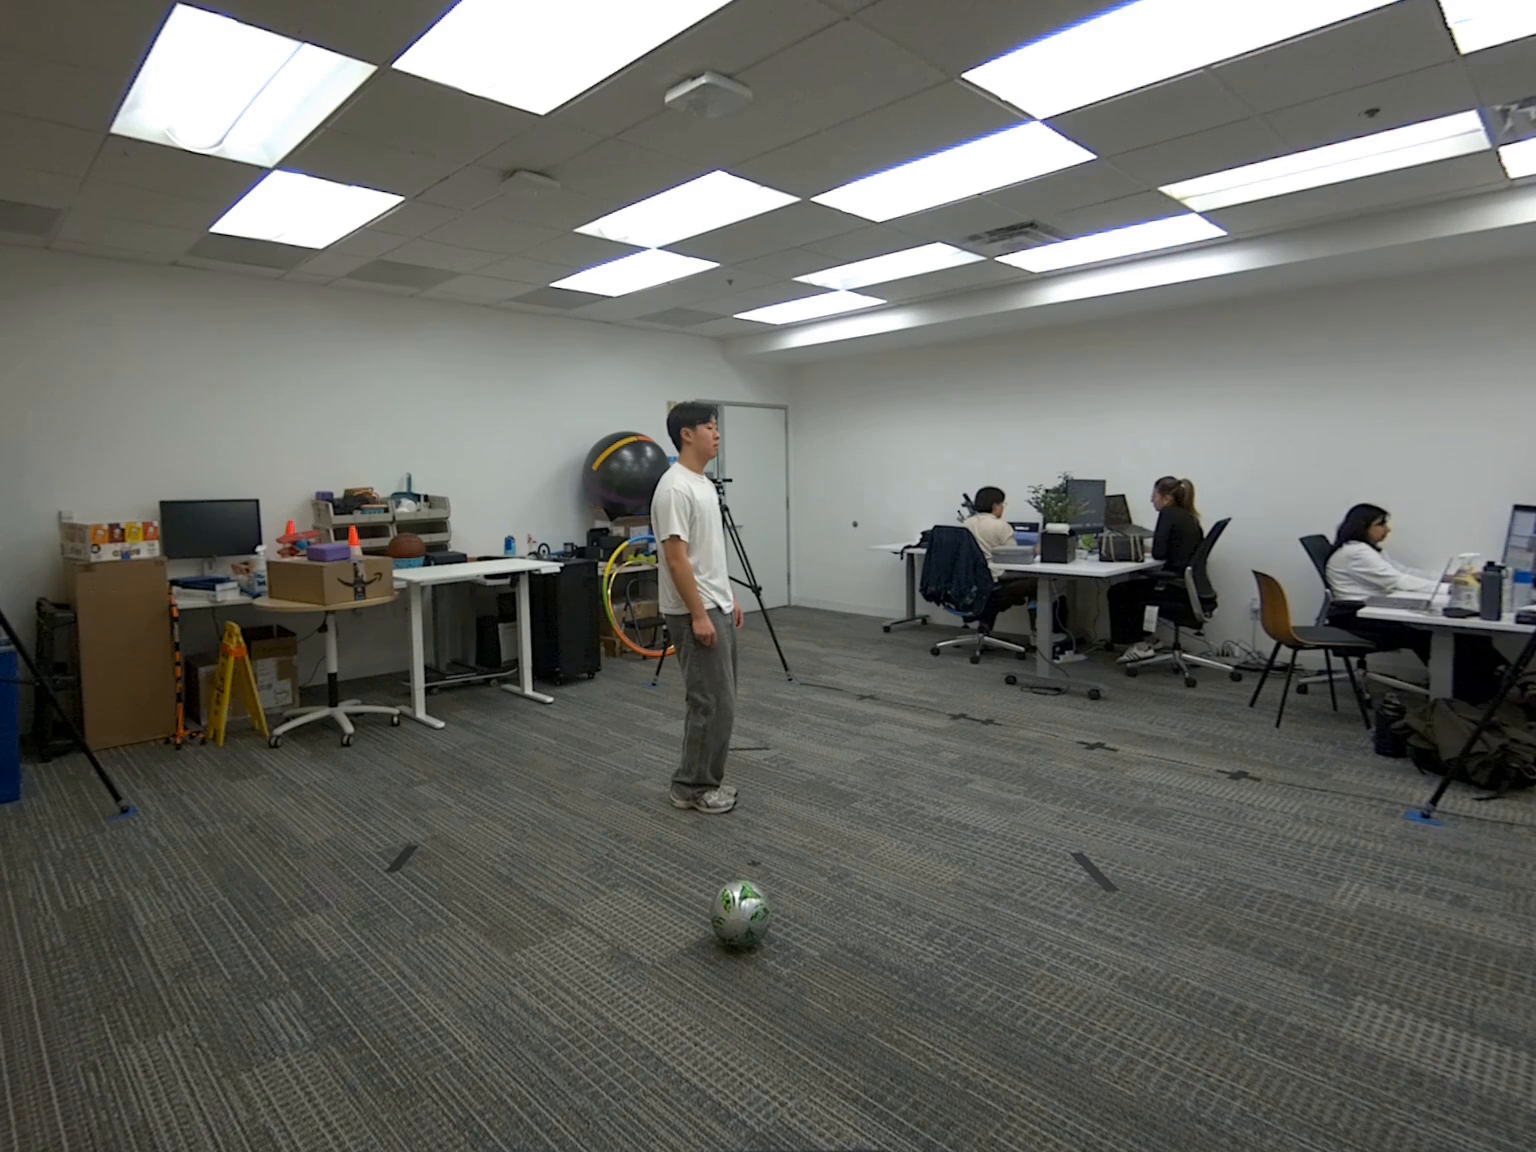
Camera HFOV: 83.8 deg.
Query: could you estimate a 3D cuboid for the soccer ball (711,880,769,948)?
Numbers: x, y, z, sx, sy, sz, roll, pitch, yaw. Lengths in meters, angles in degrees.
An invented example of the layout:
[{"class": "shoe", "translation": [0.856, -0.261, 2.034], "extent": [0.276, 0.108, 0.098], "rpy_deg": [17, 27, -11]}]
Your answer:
[{"class": "soccer ball", "translation": [-0.076, 1.022, 2.572], "extent": [0.187, 0.187, 0.188], "rpy_deg": [-1, 5, -2]}]
